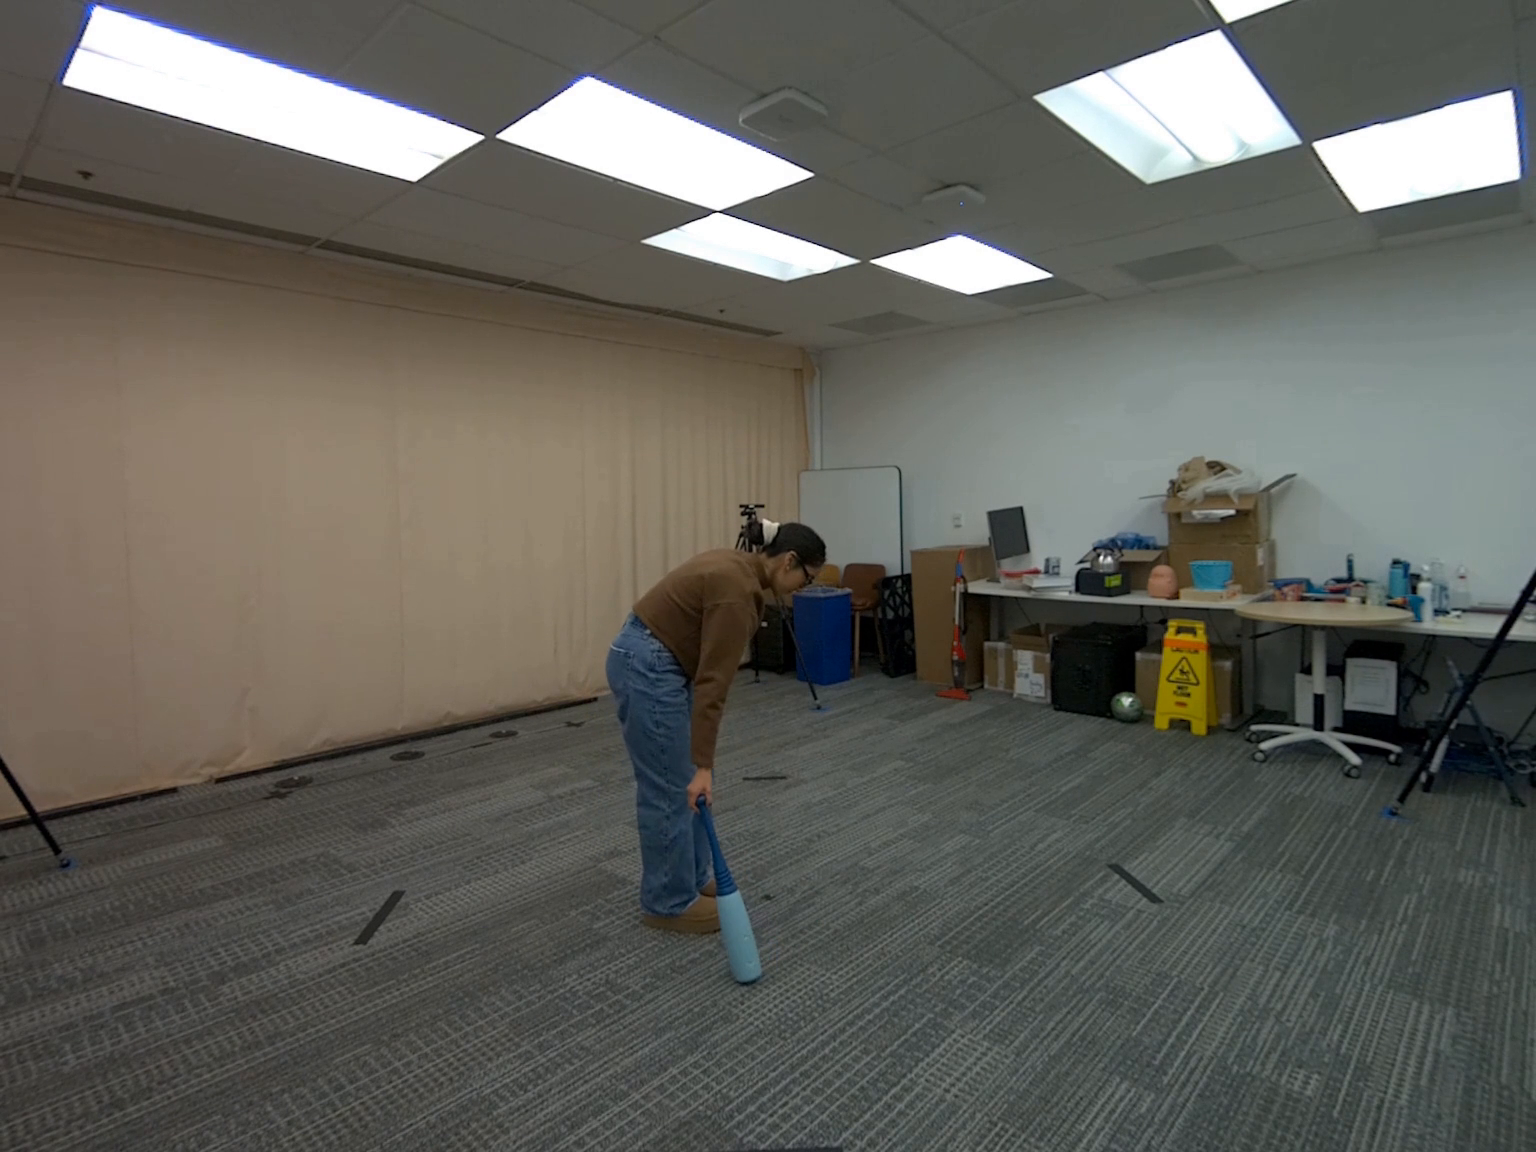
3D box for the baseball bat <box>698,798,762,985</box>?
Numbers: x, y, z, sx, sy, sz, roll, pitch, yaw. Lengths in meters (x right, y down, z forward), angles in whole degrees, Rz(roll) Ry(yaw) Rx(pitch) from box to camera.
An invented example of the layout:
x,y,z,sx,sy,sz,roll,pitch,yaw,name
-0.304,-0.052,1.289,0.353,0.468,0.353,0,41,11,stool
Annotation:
x,y,z,sx,sy,sz,roll,pitch,yaw,name
-0.114,0.923,2.494,0.089,0.546,0.089,-14,-6,-3,baseball bat
